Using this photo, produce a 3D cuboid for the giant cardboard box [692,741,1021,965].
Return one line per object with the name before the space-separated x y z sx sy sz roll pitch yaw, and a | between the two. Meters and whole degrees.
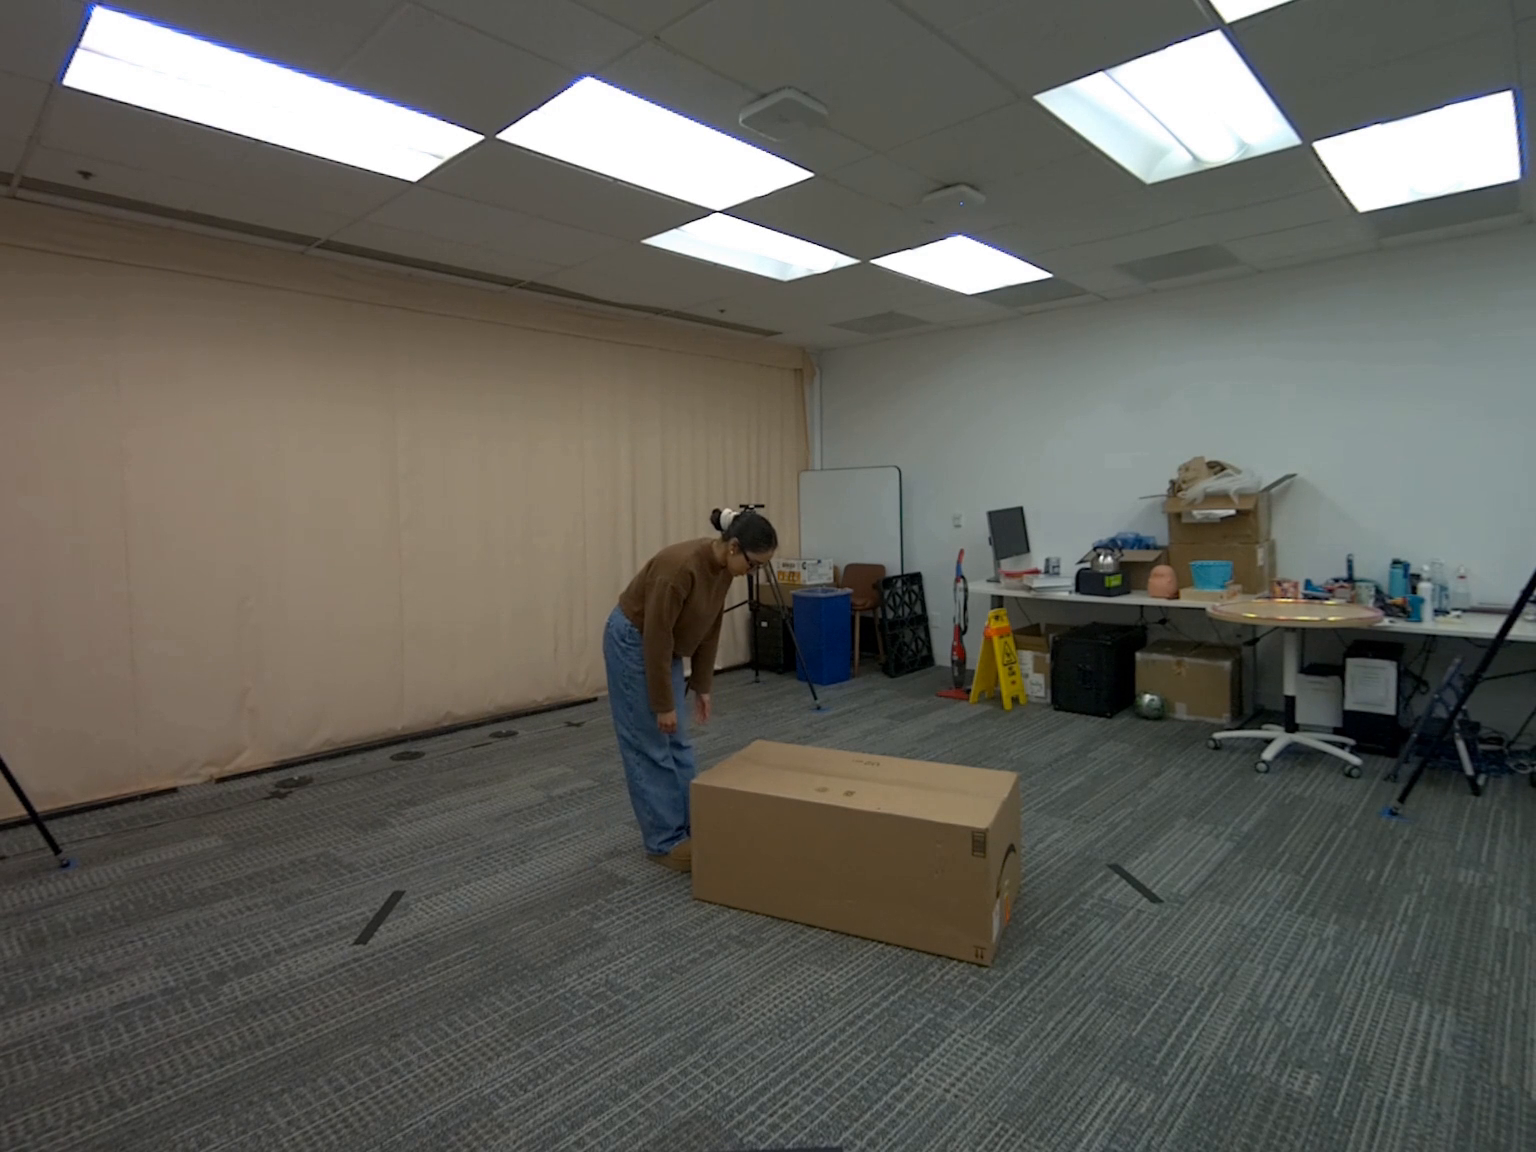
giant cardboard box | 0.320 0.920 2.981 1.055 0.446 0.569 2 4 27
